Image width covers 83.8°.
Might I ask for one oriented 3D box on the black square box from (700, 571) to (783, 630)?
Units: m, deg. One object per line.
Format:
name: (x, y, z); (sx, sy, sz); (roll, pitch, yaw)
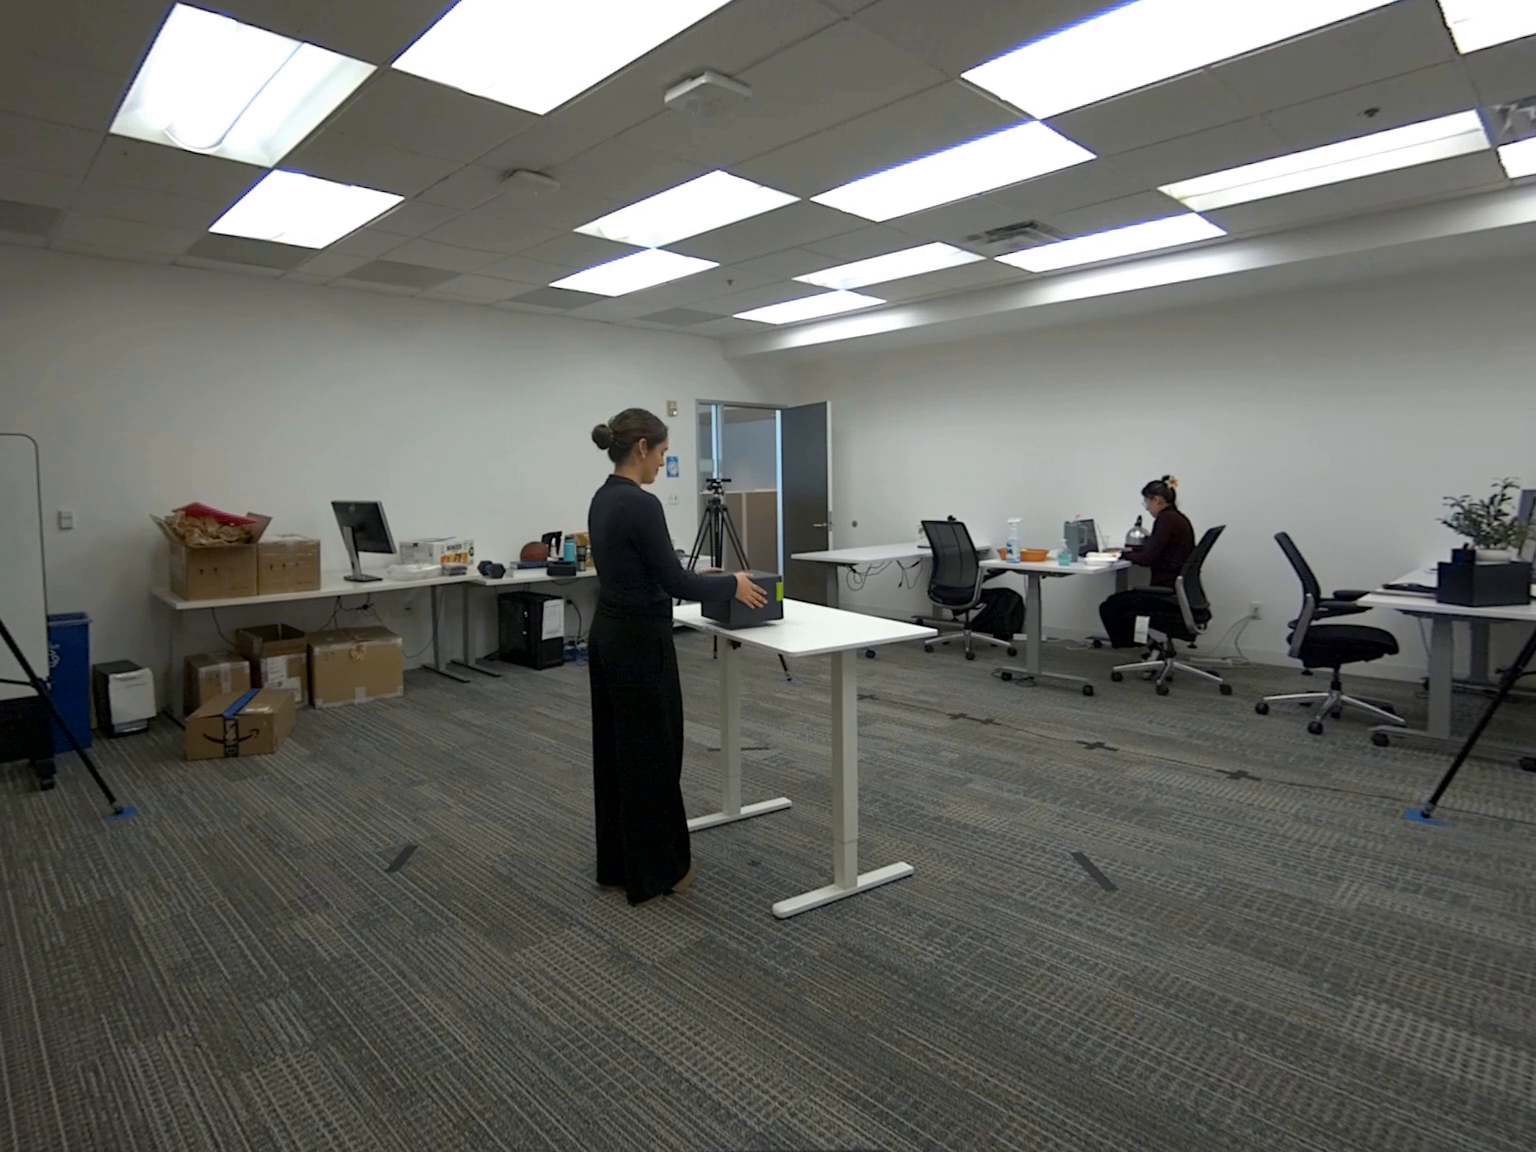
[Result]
black square box: (-0.094, 0.064, 3.042); (0.212, 0.155, 0.234); (-4, 7, -28)
